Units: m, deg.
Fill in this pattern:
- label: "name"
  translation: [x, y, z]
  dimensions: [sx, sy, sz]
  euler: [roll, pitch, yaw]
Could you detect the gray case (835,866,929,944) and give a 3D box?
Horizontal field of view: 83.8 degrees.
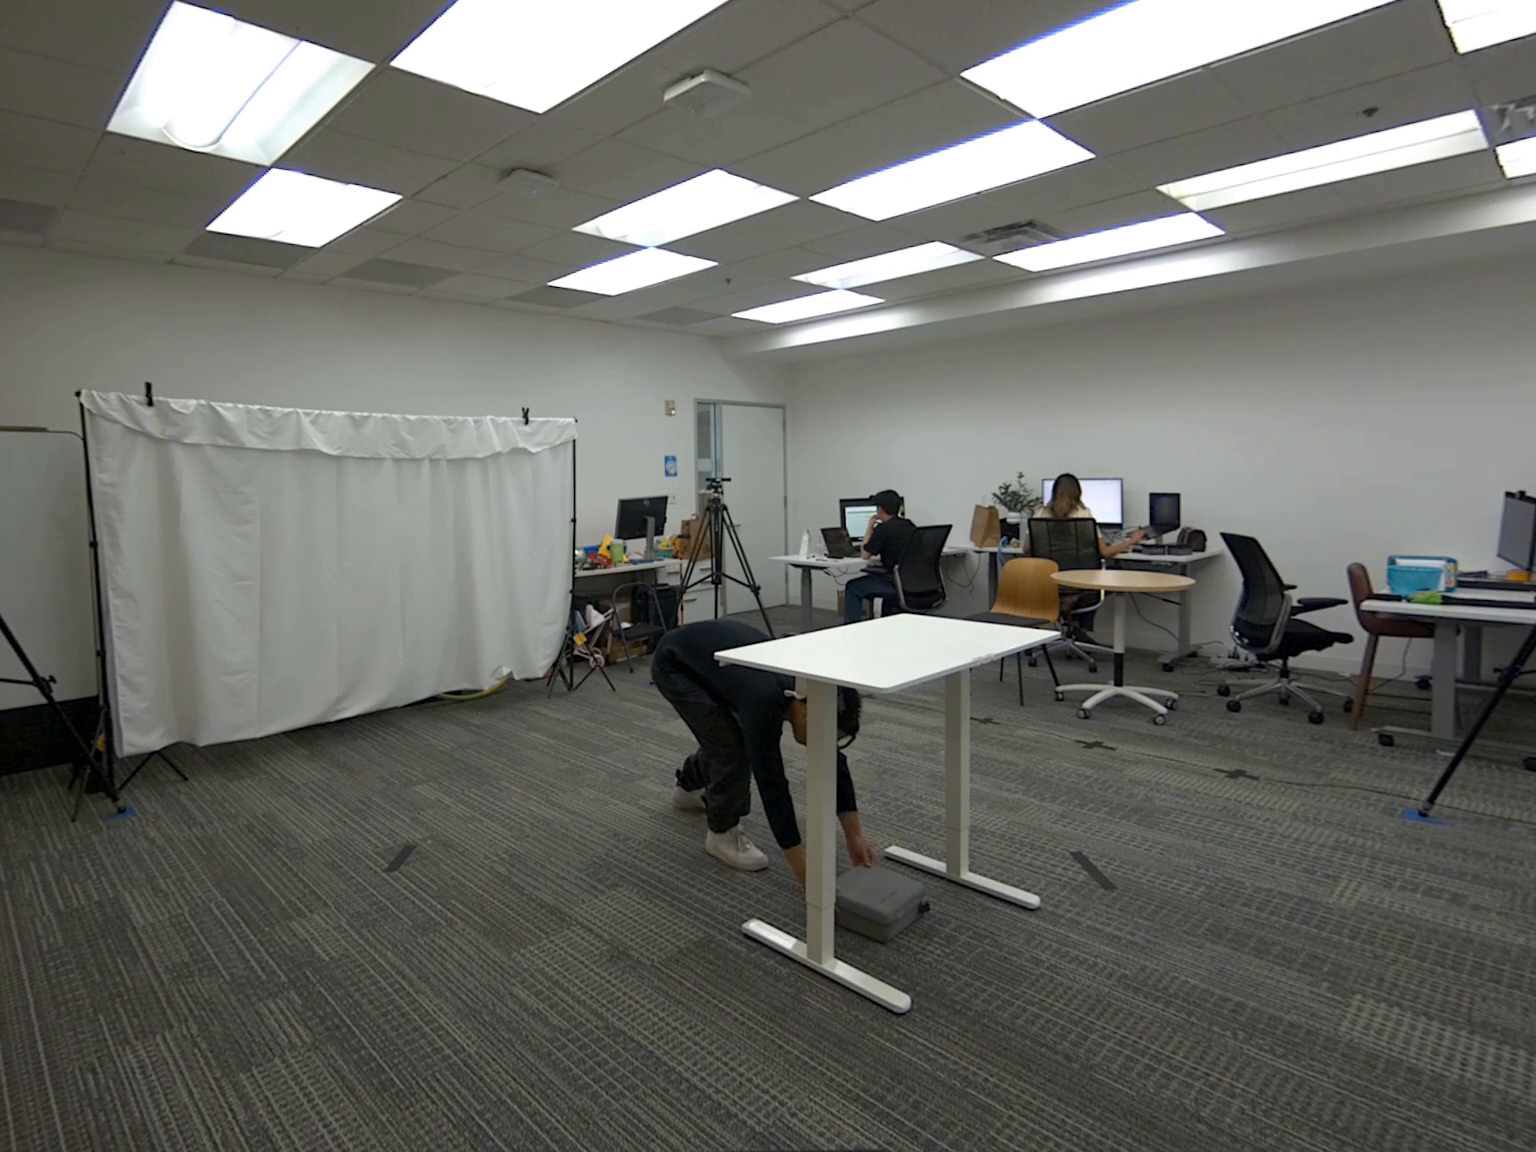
- label: "gray case"
  translation: [0.342, 1.027, 2.694]
  dimensions: [0.265, 0.104, 0.254]
  euler: [6, 9, 41]
